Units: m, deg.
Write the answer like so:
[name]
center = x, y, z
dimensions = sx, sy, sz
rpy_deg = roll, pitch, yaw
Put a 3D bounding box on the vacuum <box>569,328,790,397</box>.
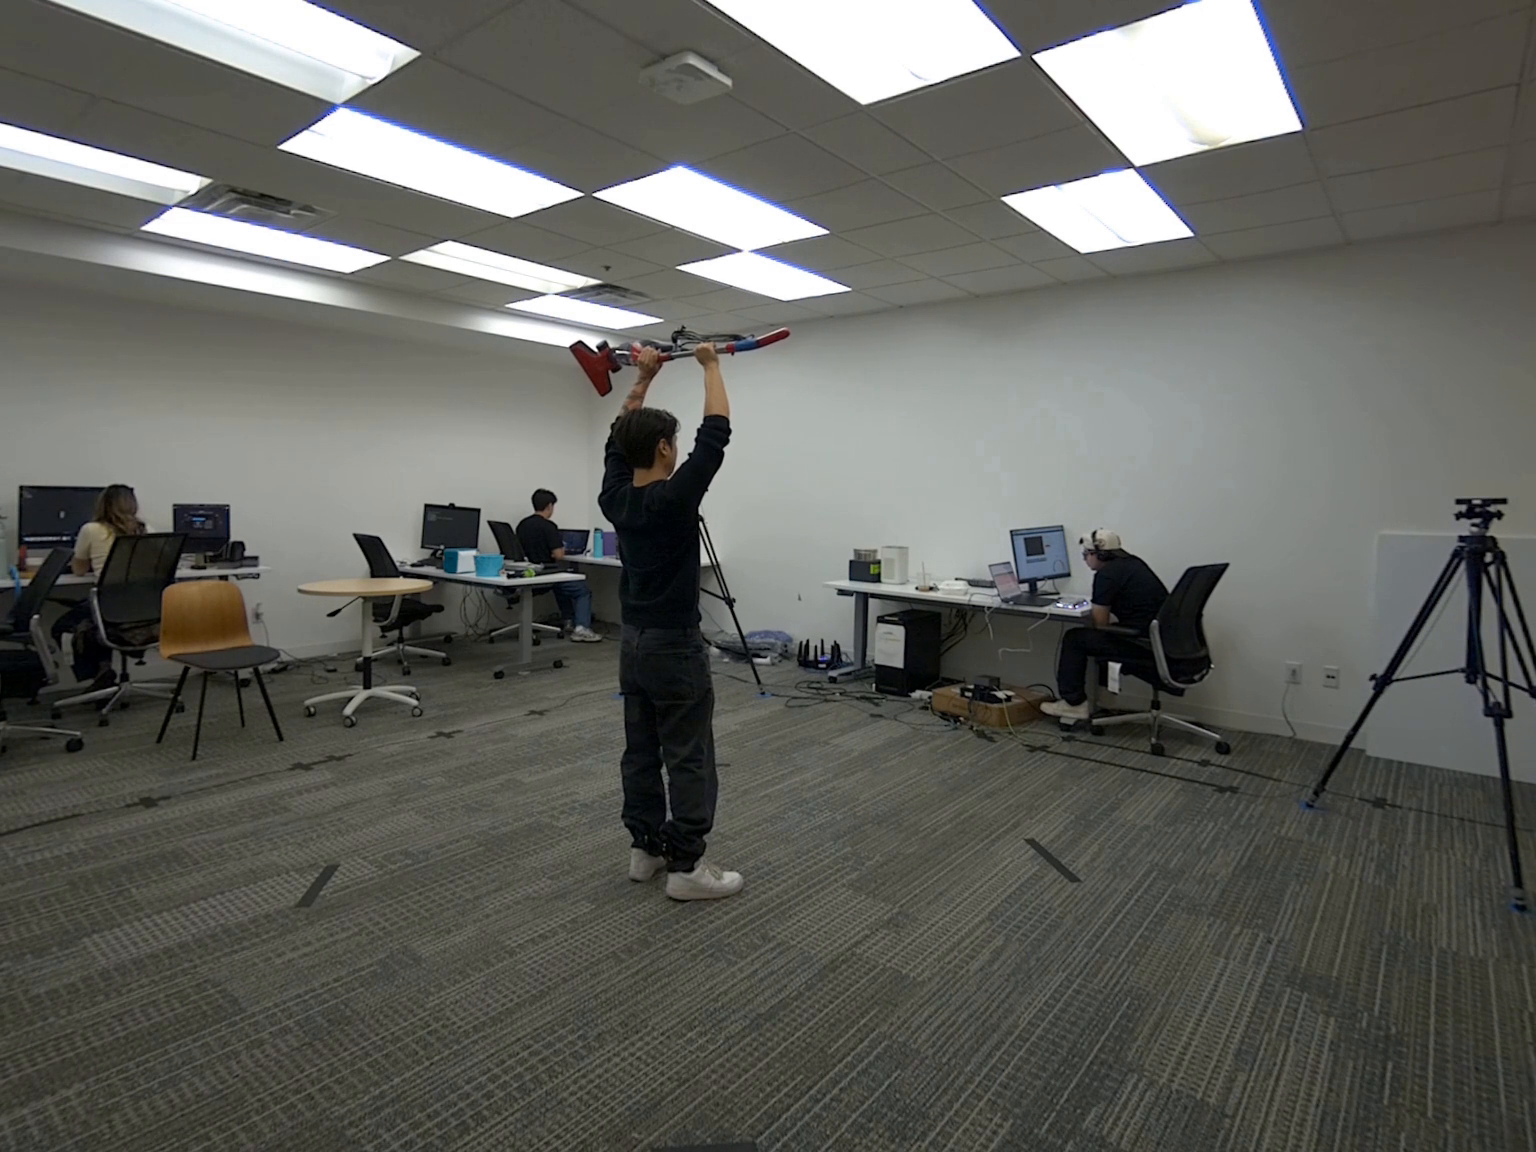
[vacuum]
center = -0.332, -0.844, 3.141
dimensions = 1.085, 0.244, 0.144
rpy_deg = 5, 46, 44
